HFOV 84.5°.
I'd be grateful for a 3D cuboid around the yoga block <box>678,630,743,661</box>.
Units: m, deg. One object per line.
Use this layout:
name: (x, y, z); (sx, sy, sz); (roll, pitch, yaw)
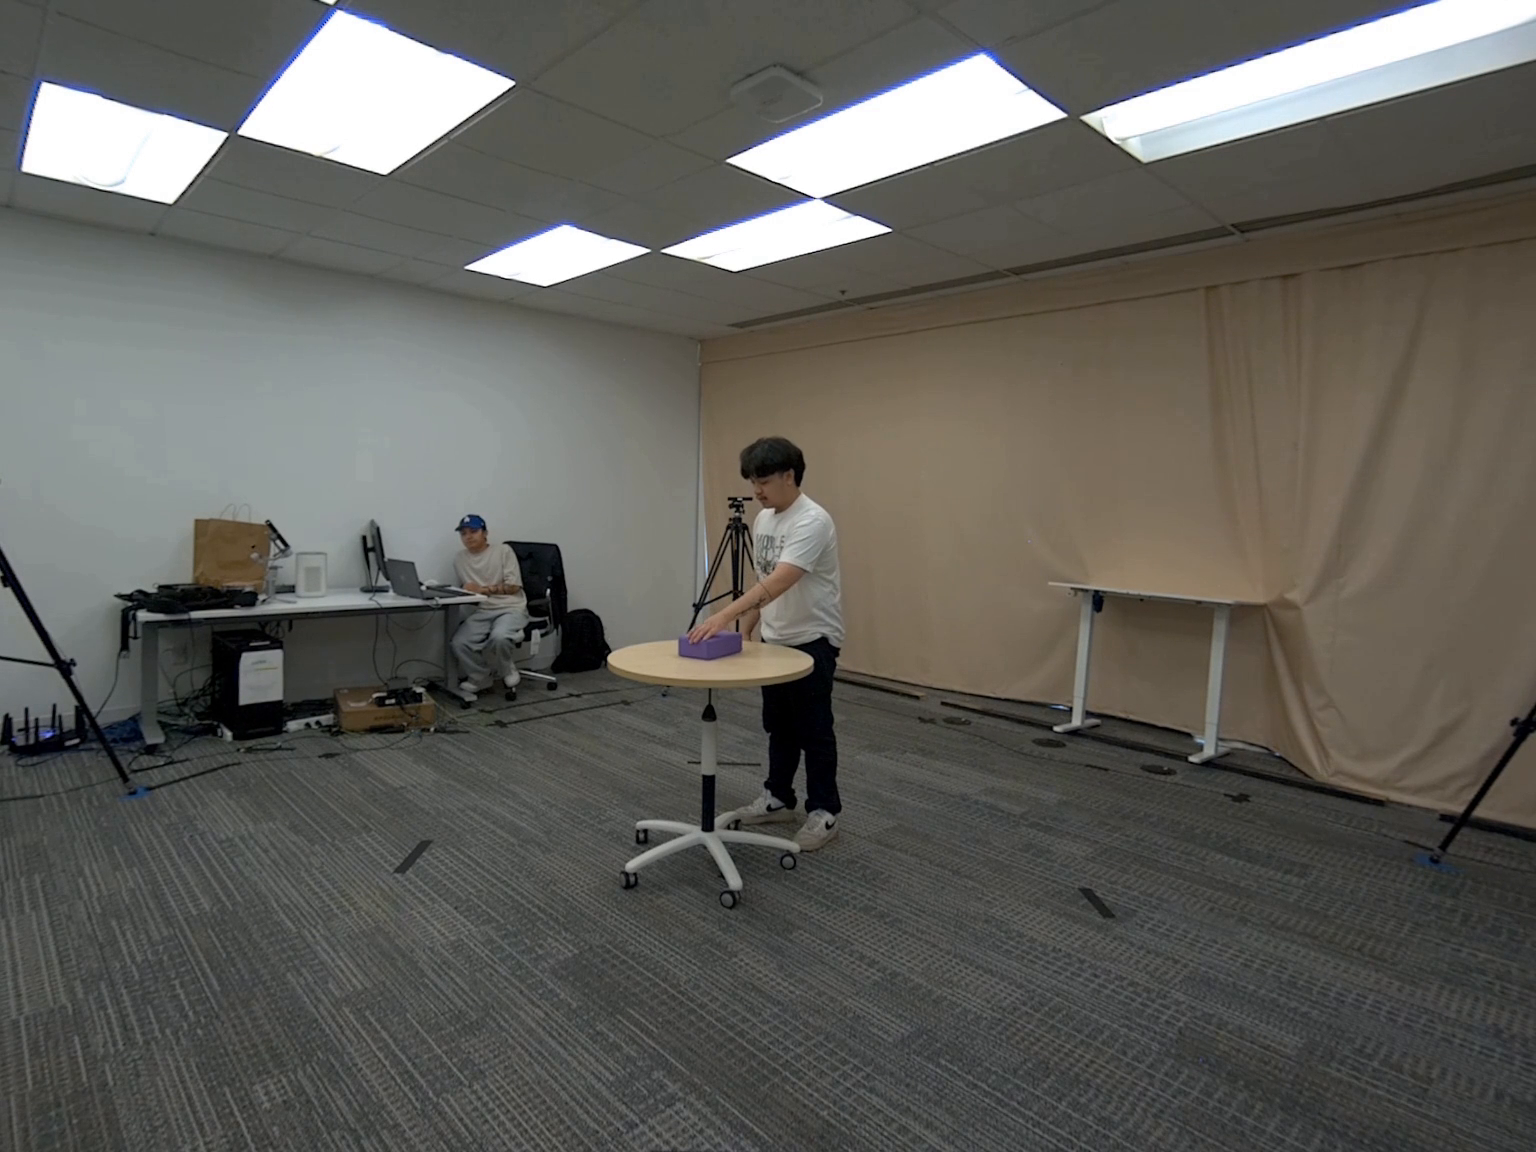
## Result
yoga block: (-0.227, 0.261, 3.201); (0.152, 0.076, 0.225); (4, 7, 31)
